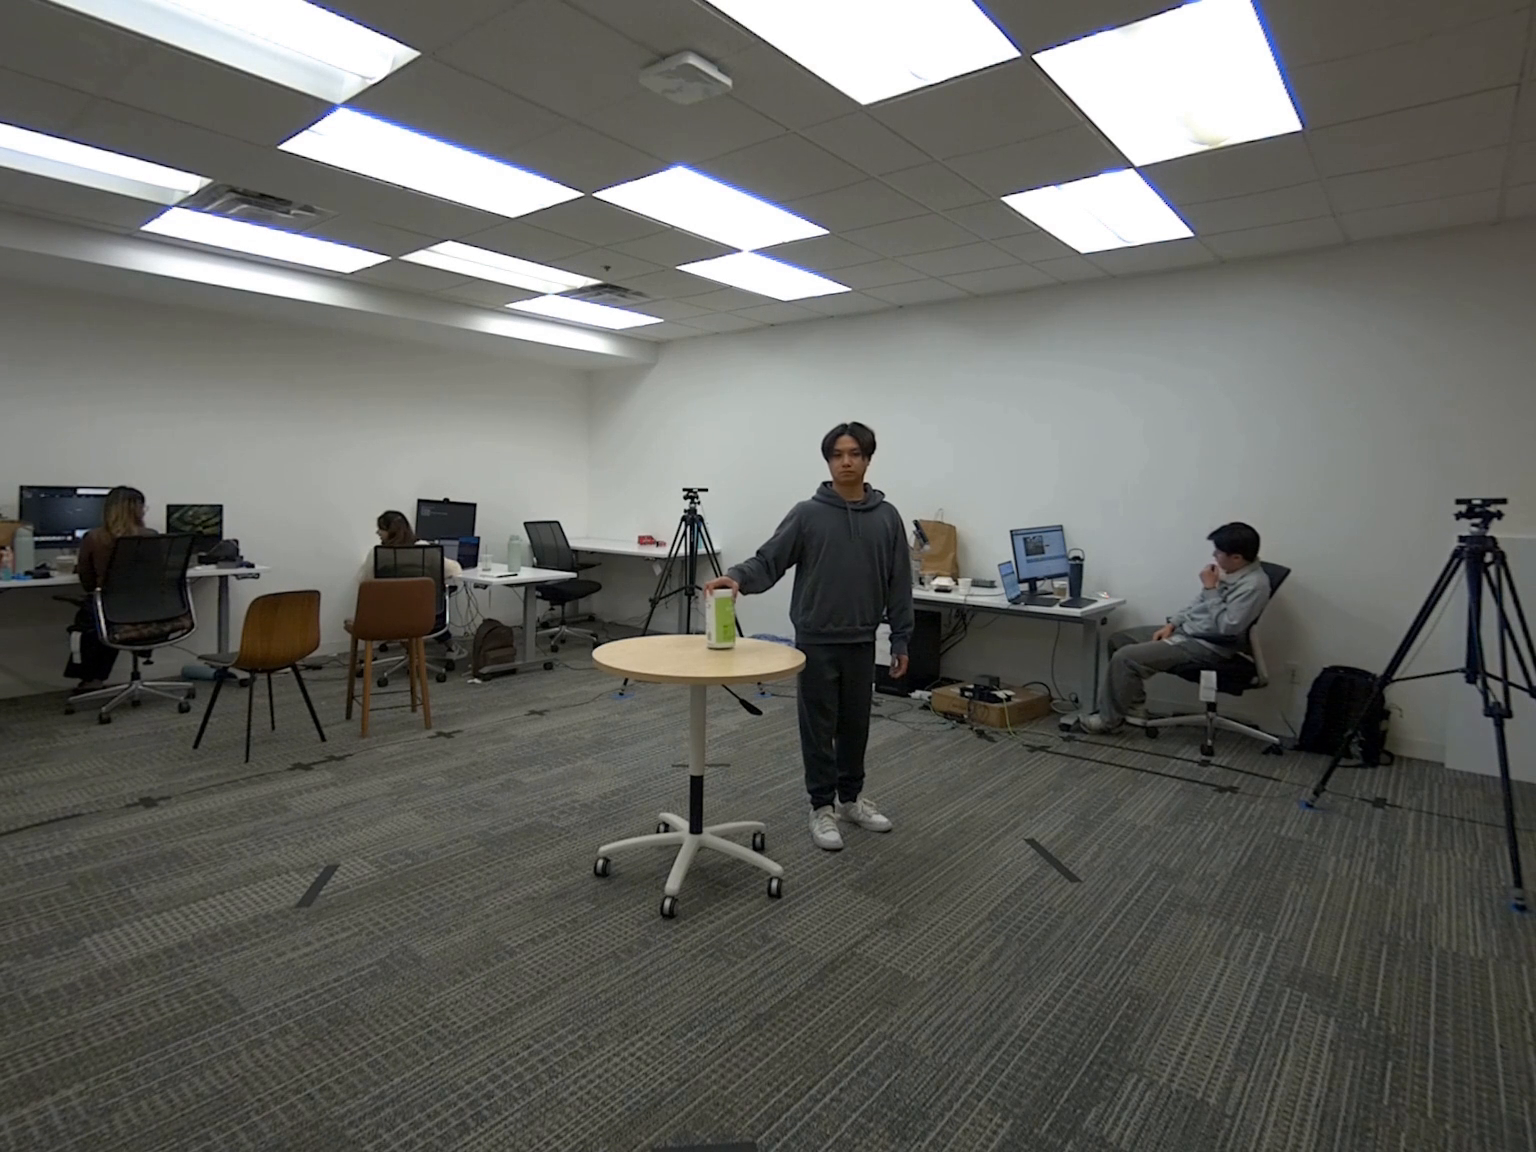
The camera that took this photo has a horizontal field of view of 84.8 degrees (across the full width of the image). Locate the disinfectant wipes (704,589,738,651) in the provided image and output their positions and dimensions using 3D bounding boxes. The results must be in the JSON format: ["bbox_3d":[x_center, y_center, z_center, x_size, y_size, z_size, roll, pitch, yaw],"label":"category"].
[{"bbox_3d":[-0.192,0.149,3.170,0.118,0.217,0.118,1,0,-2],"label":"disinfectant wipes"}]
